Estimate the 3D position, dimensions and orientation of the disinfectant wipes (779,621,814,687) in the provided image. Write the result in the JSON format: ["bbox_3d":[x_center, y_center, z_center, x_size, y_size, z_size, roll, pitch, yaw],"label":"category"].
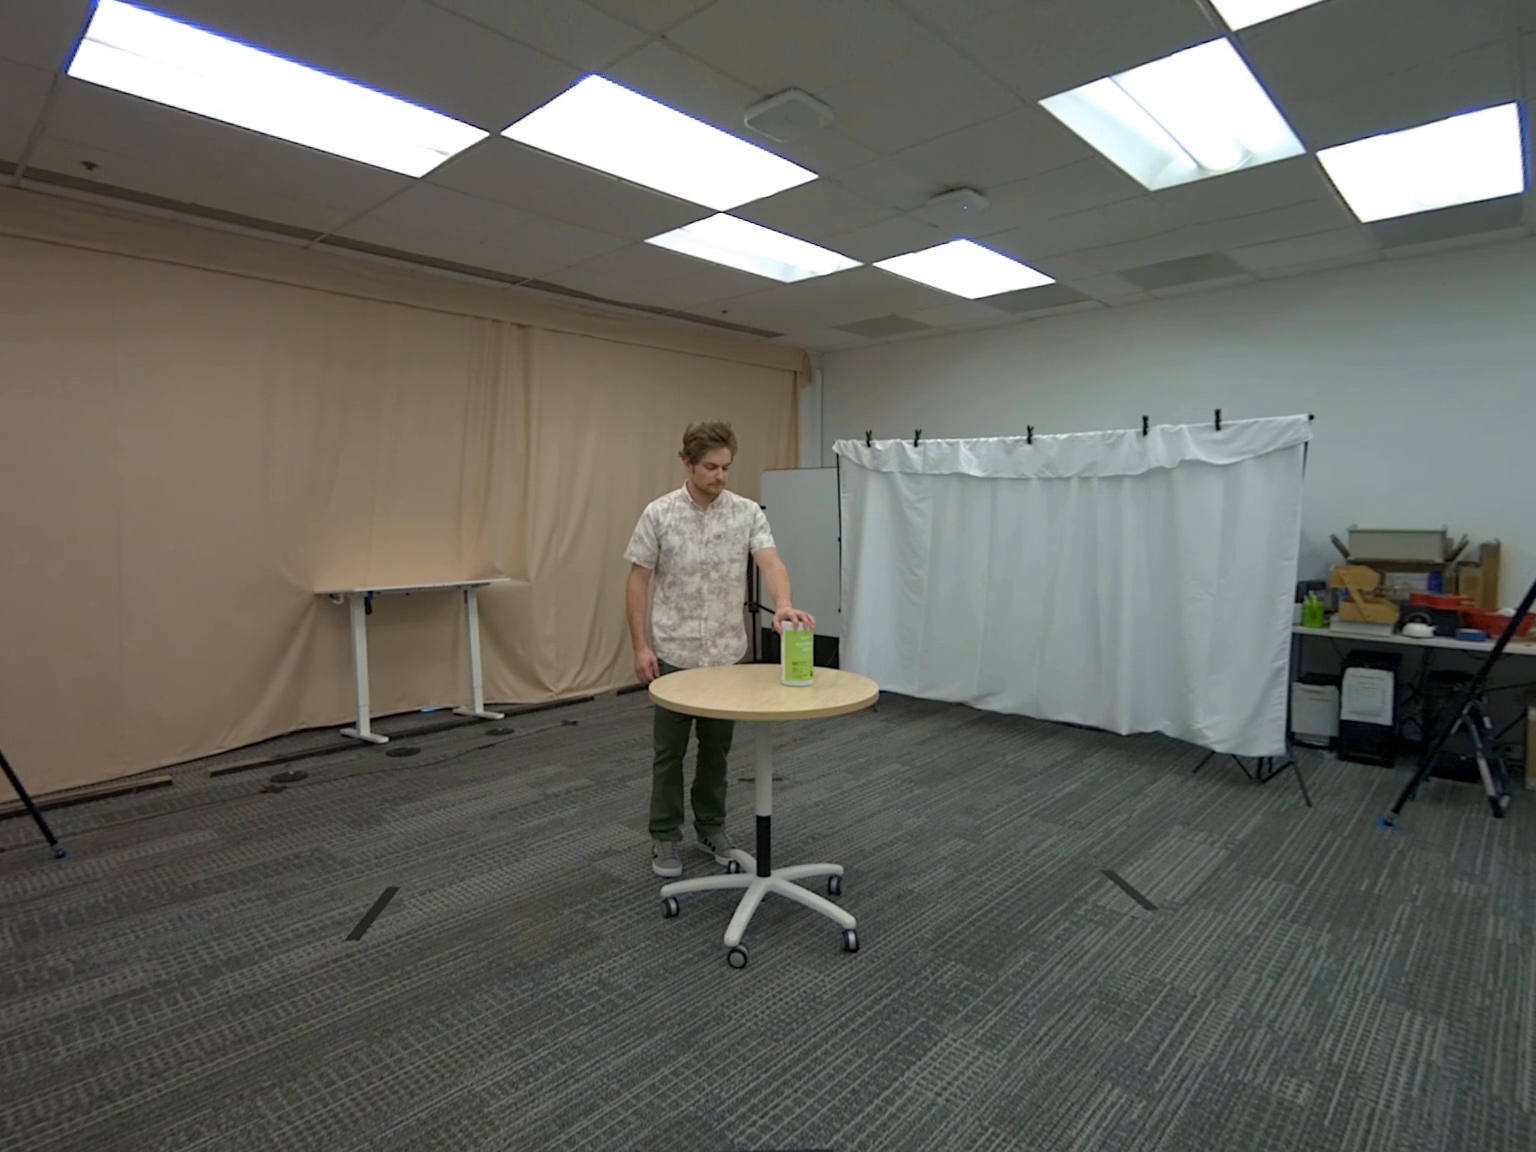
[{"bbox_3d":[0.102,0.262,2.831,0.117,0.217,0.118,2,5,-2],"label":"disinfectant wipes"}]
